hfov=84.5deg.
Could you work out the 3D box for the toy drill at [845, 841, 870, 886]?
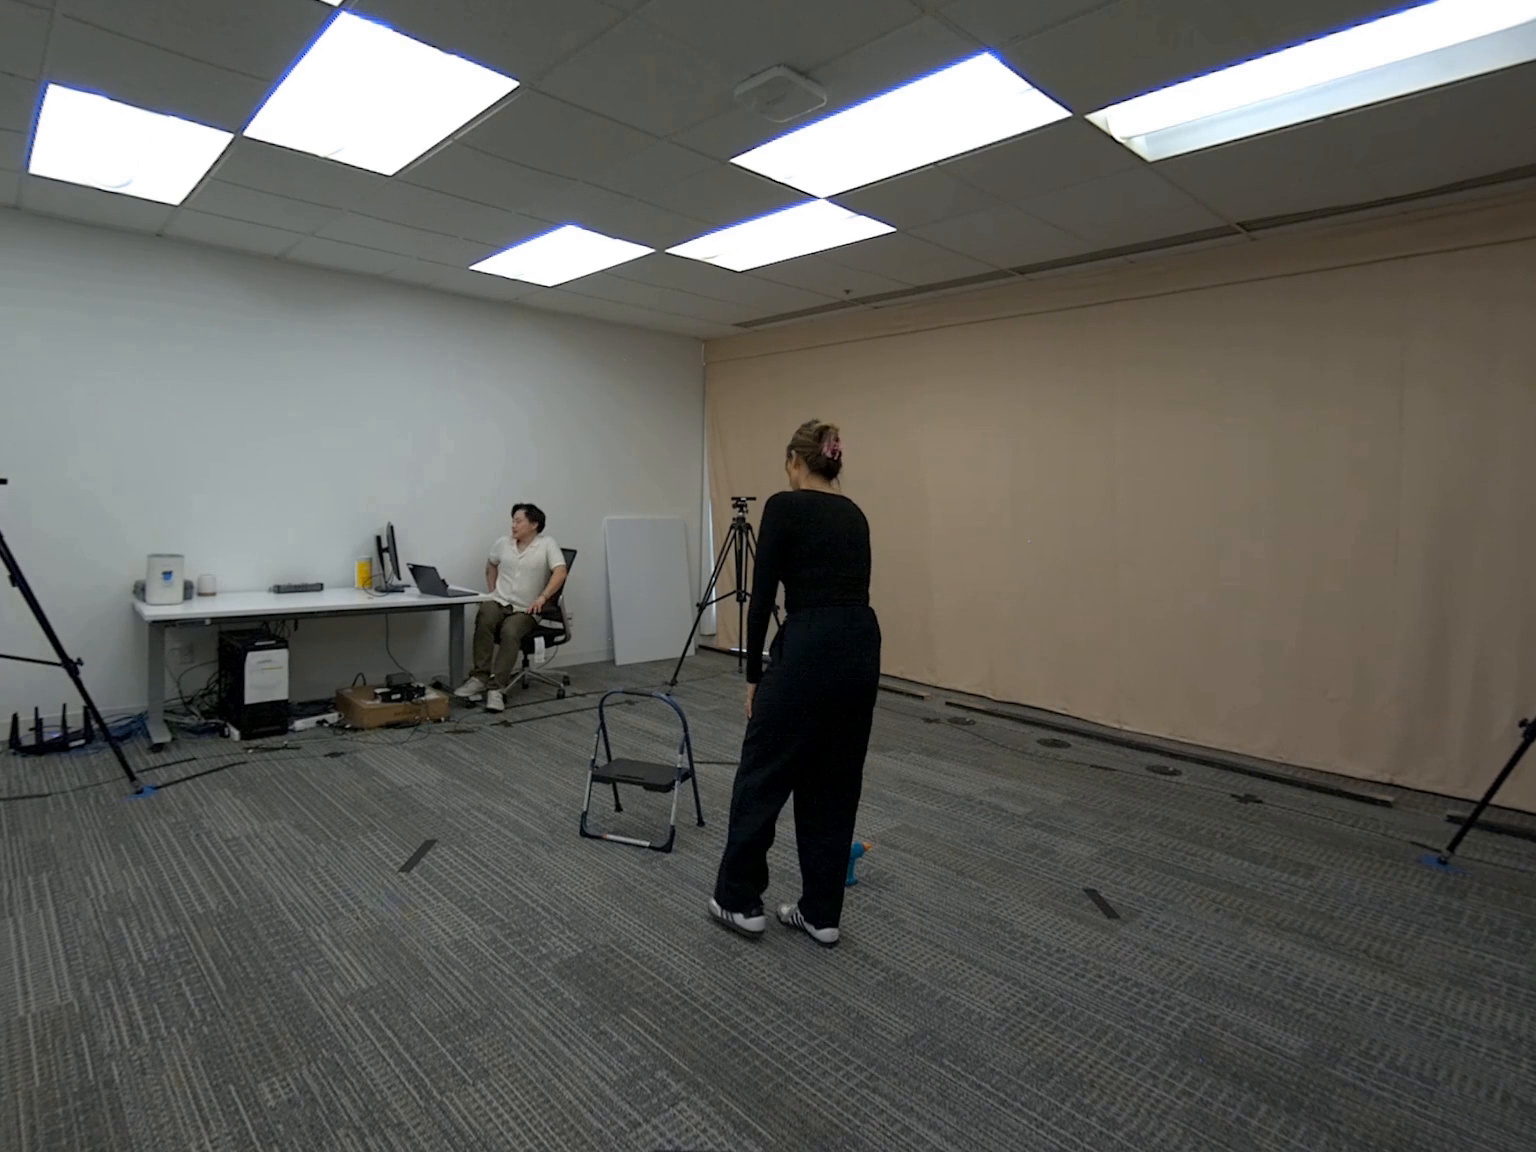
[{"bbox_3d":[0.316,1.045,3.090,0.063,0.146,0.166,3,1,42],"label":"toy drill"}]
